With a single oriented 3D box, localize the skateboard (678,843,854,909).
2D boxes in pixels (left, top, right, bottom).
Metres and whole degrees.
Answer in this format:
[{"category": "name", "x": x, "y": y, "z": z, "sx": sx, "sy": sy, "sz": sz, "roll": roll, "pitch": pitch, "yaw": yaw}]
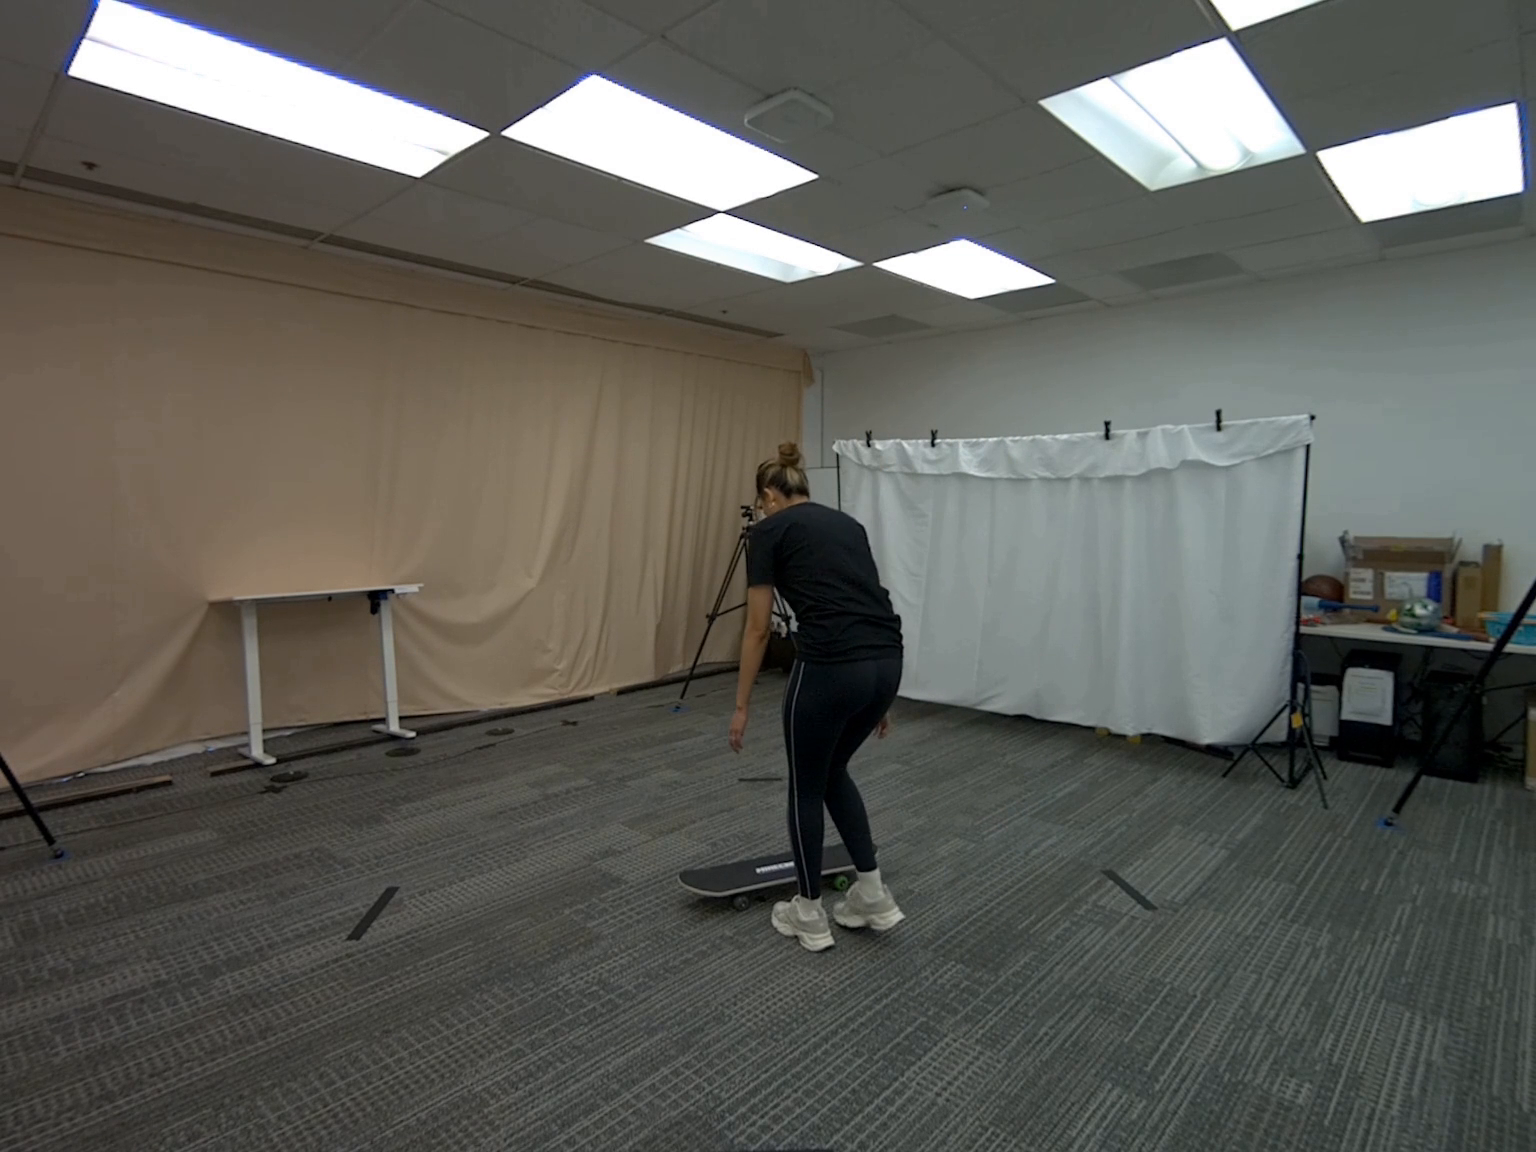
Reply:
[{"category": "skateboard", "x": 0.052, "y": 1.080, "z": 3.040, "sx": 0.768, "sy": 0.110, "sz": 0.198, "roll": -2, "pitch": 5, "yaw": -23}]
